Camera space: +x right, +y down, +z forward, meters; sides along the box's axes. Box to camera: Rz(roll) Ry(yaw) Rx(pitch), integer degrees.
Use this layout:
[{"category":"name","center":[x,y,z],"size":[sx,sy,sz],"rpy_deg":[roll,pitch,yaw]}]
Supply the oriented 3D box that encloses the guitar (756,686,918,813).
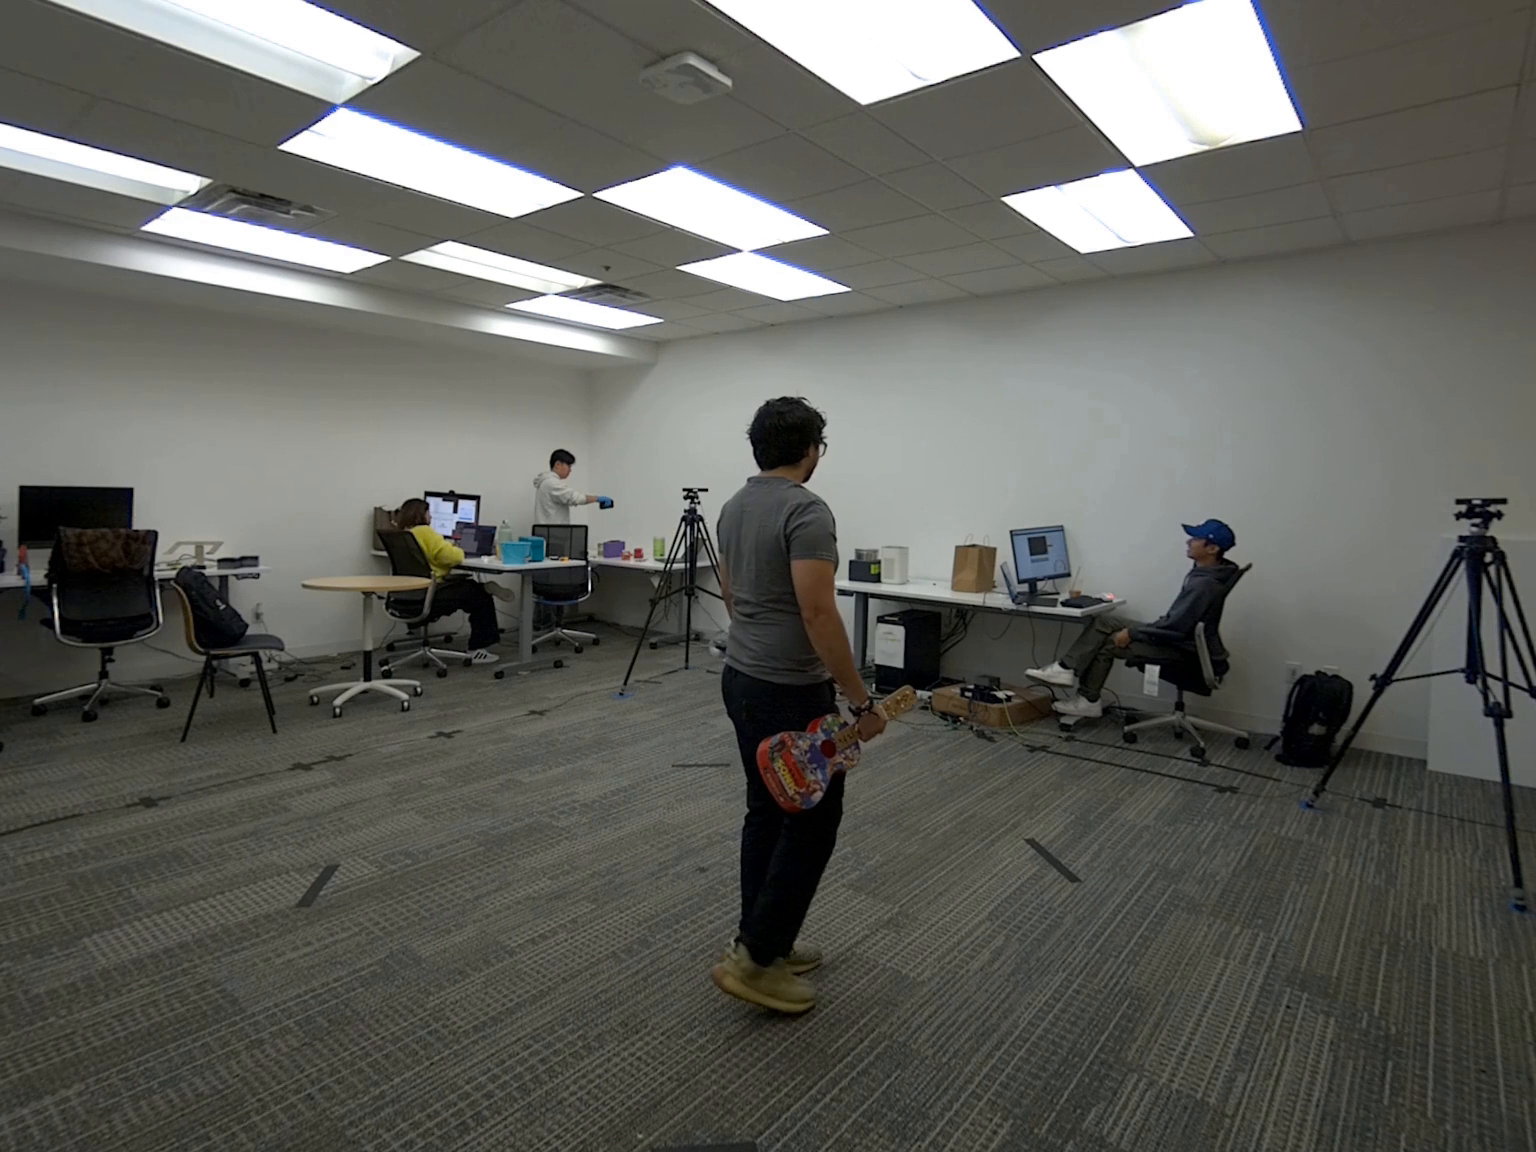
[{"category":"guitar","center":[0.203,0.447,2.205],"size":[0.488,0.196,0.071],"rpy_deg":[-16,-14,-28]}]
